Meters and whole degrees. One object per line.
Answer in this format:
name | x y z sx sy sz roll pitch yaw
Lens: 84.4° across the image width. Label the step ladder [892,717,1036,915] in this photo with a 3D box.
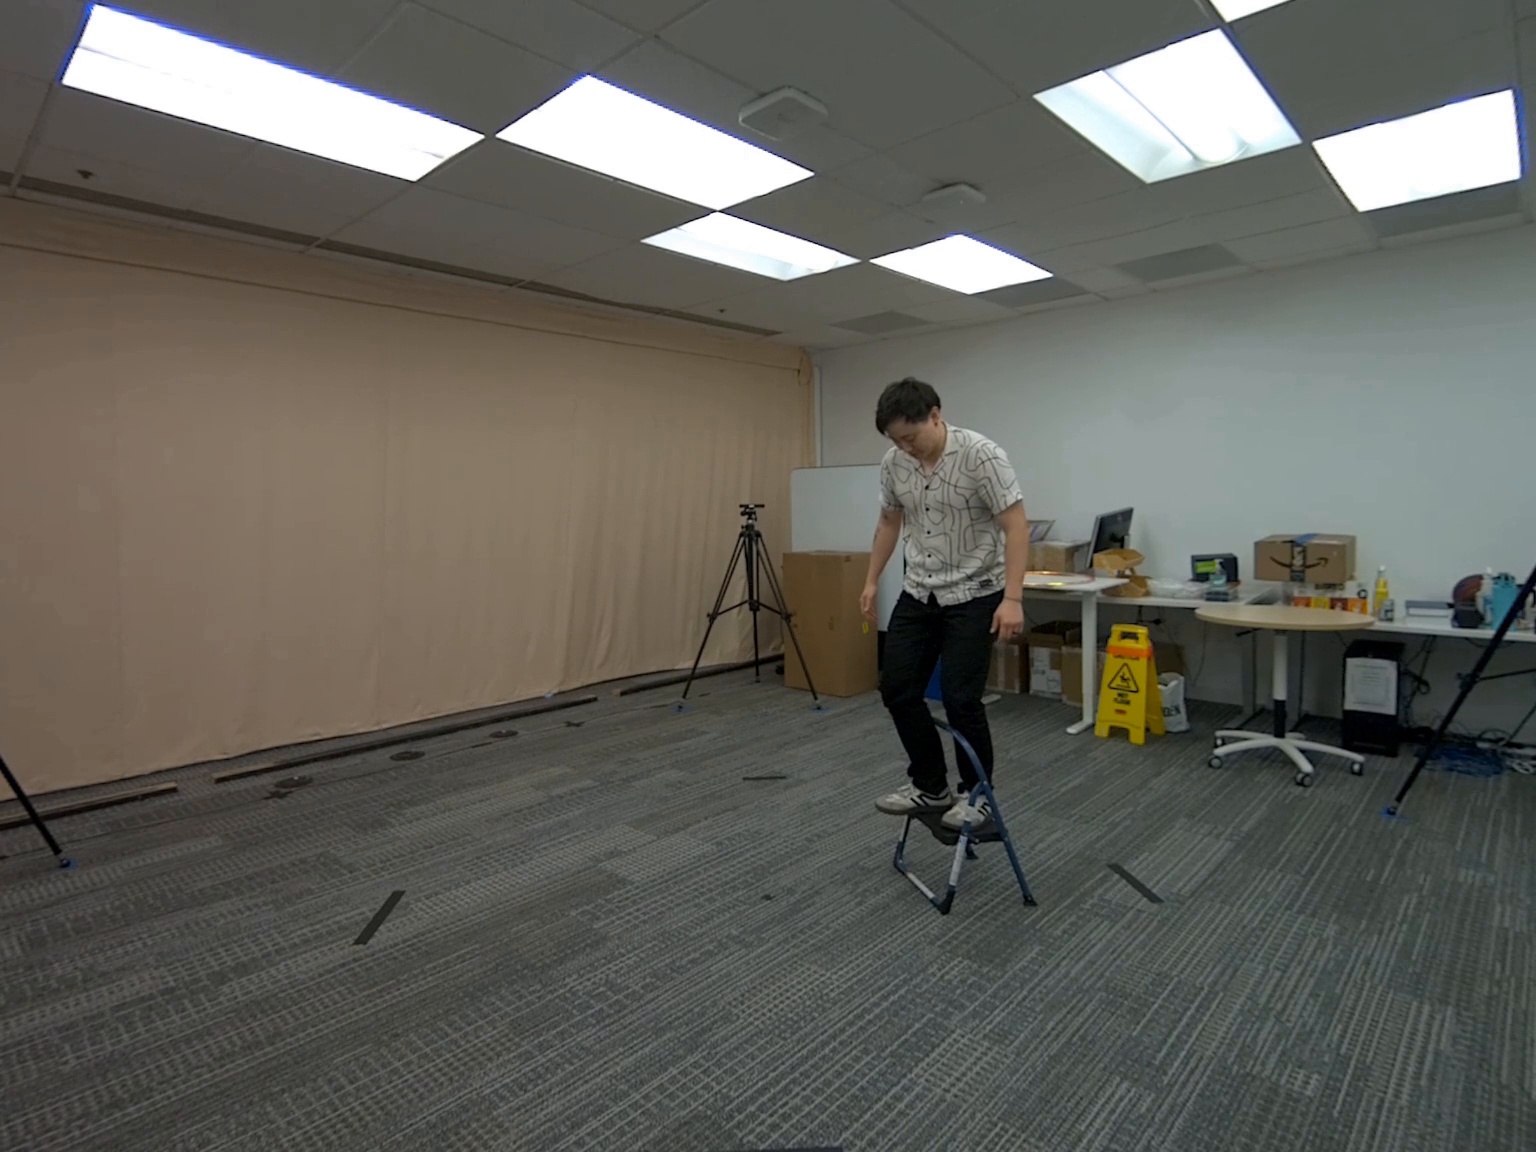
step ladder | 0.703 0.824 3.050 0.344 0.605 0.438 -1 4 -15
